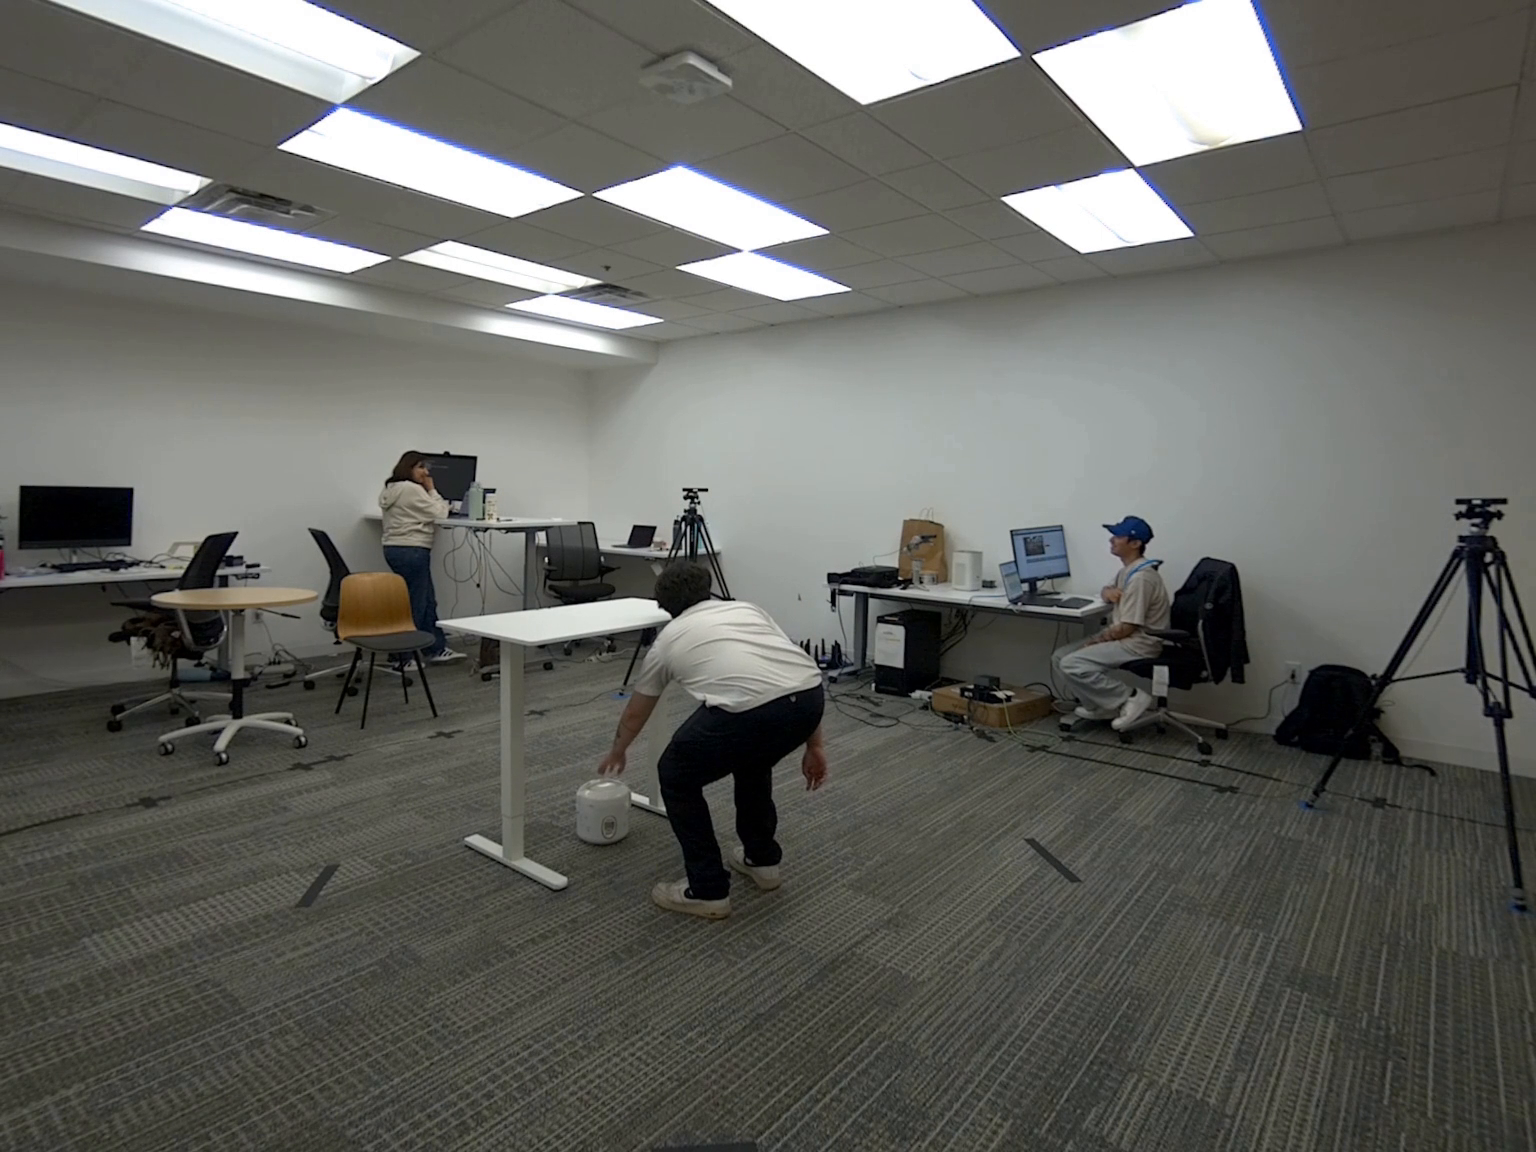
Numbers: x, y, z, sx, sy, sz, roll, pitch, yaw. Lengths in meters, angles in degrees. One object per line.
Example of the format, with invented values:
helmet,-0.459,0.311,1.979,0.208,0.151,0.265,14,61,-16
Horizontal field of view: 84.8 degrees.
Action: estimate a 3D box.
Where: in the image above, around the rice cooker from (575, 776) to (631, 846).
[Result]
rice cooker,-0.664,0.920,3.377,0.216,0.232,0.223,-1,4,-22
